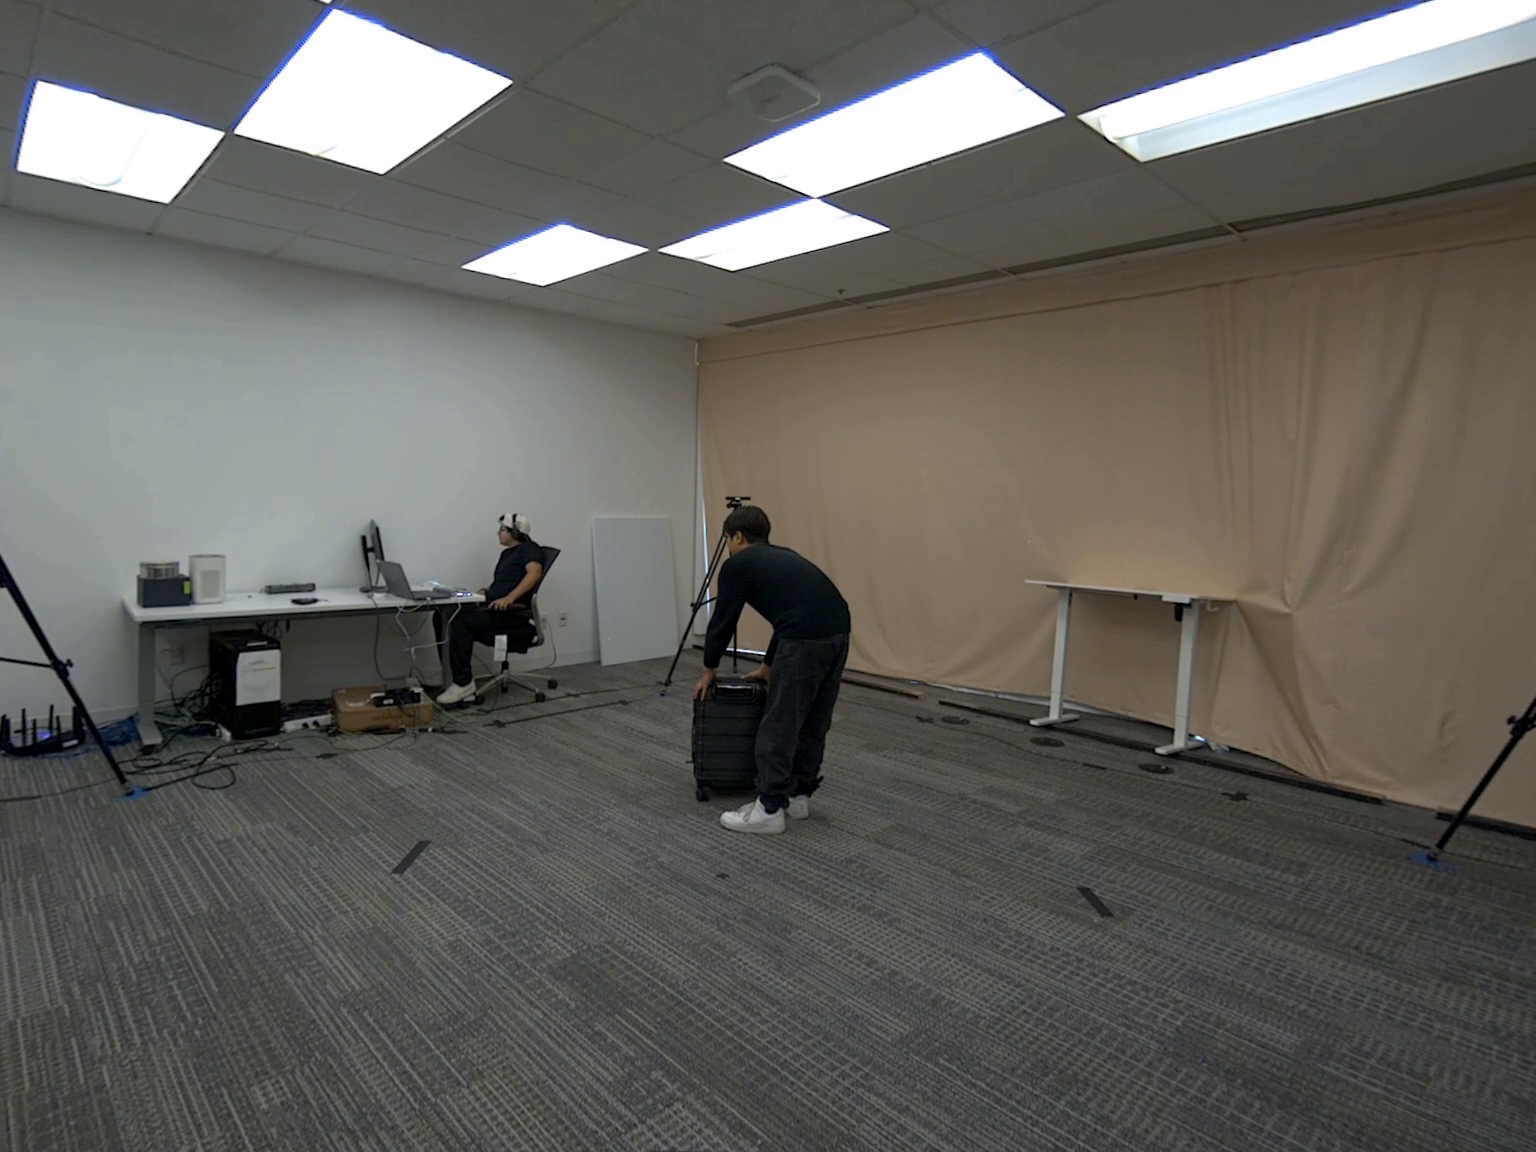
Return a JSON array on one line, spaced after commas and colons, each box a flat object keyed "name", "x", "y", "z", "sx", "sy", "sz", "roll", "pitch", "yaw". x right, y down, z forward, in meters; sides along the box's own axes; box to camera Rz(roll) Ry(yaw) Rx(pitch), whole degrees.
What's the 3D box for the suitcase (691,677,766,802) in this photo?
[{"name": "suitcase", "x": -0.186, "y": 0.750, "z": 4.012, "sx": 0.375, "sy": 0.548, "sz": 0.249, "roll": 1, "pitch": 3, "yaw": -3}]
